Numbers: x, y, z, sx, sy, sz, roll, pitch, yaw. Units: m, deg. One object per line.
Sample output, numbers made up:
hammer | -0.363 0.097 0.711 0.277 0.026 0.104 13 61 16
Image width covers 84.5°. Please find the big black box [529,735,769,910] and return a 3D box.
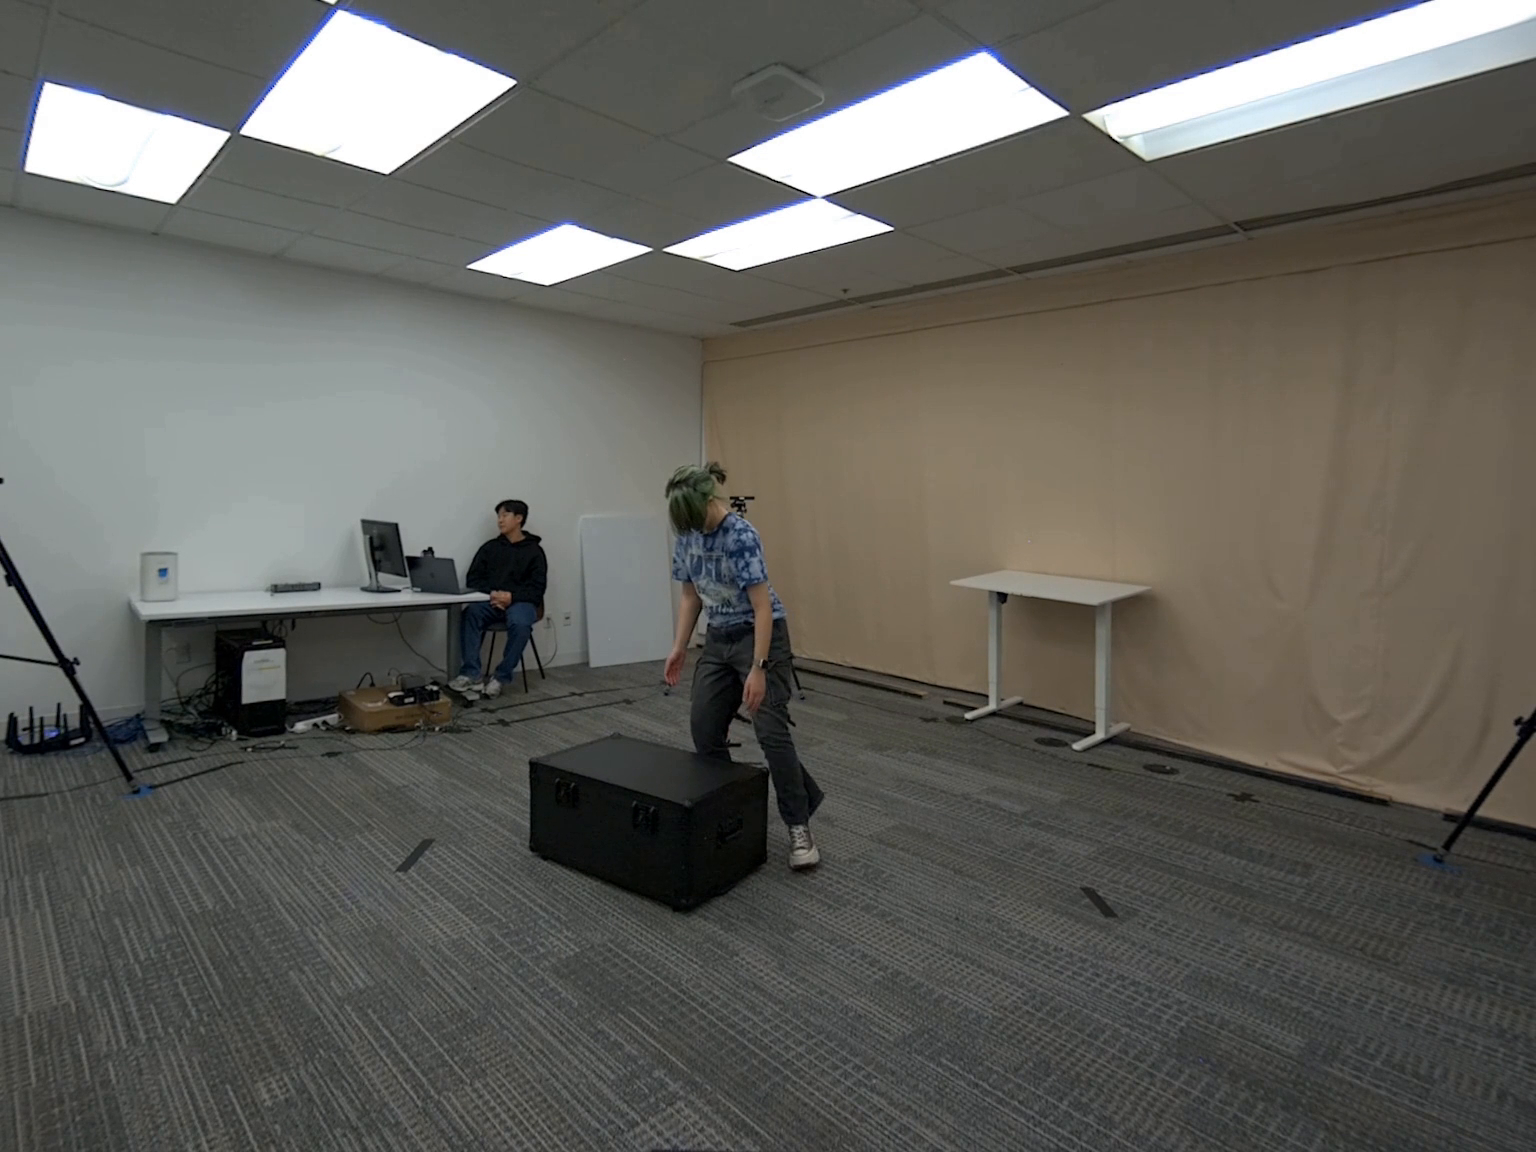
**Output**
big black box | -0.491 0.895 3.201 0.882 0.395 0.510 5 6 34
